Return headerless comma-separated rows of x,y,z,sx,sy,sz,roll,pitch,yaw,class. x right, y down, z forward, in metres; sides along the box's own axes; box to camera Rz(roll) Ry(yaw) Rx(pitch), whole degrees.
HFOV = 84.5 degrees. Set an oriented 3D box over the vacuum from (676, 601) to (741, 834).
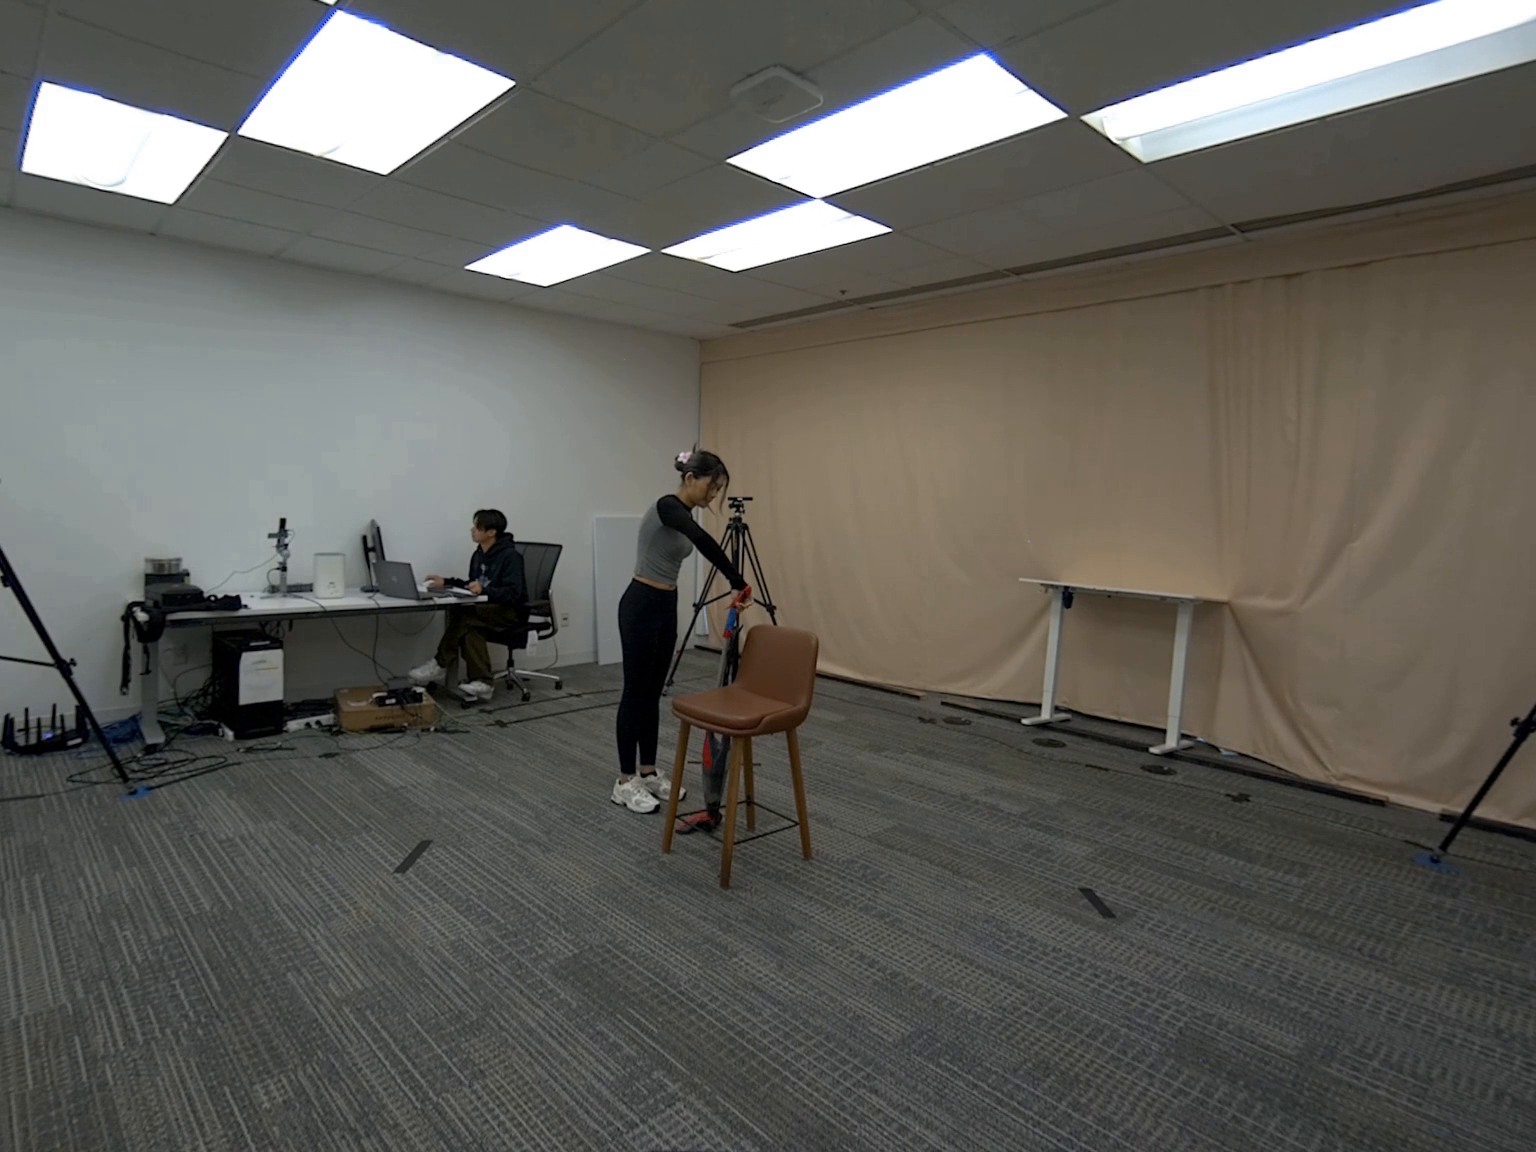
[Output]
-0.205,0.554,3.531,0.141,1.043,0.259,-2,9,-33,vacuum
